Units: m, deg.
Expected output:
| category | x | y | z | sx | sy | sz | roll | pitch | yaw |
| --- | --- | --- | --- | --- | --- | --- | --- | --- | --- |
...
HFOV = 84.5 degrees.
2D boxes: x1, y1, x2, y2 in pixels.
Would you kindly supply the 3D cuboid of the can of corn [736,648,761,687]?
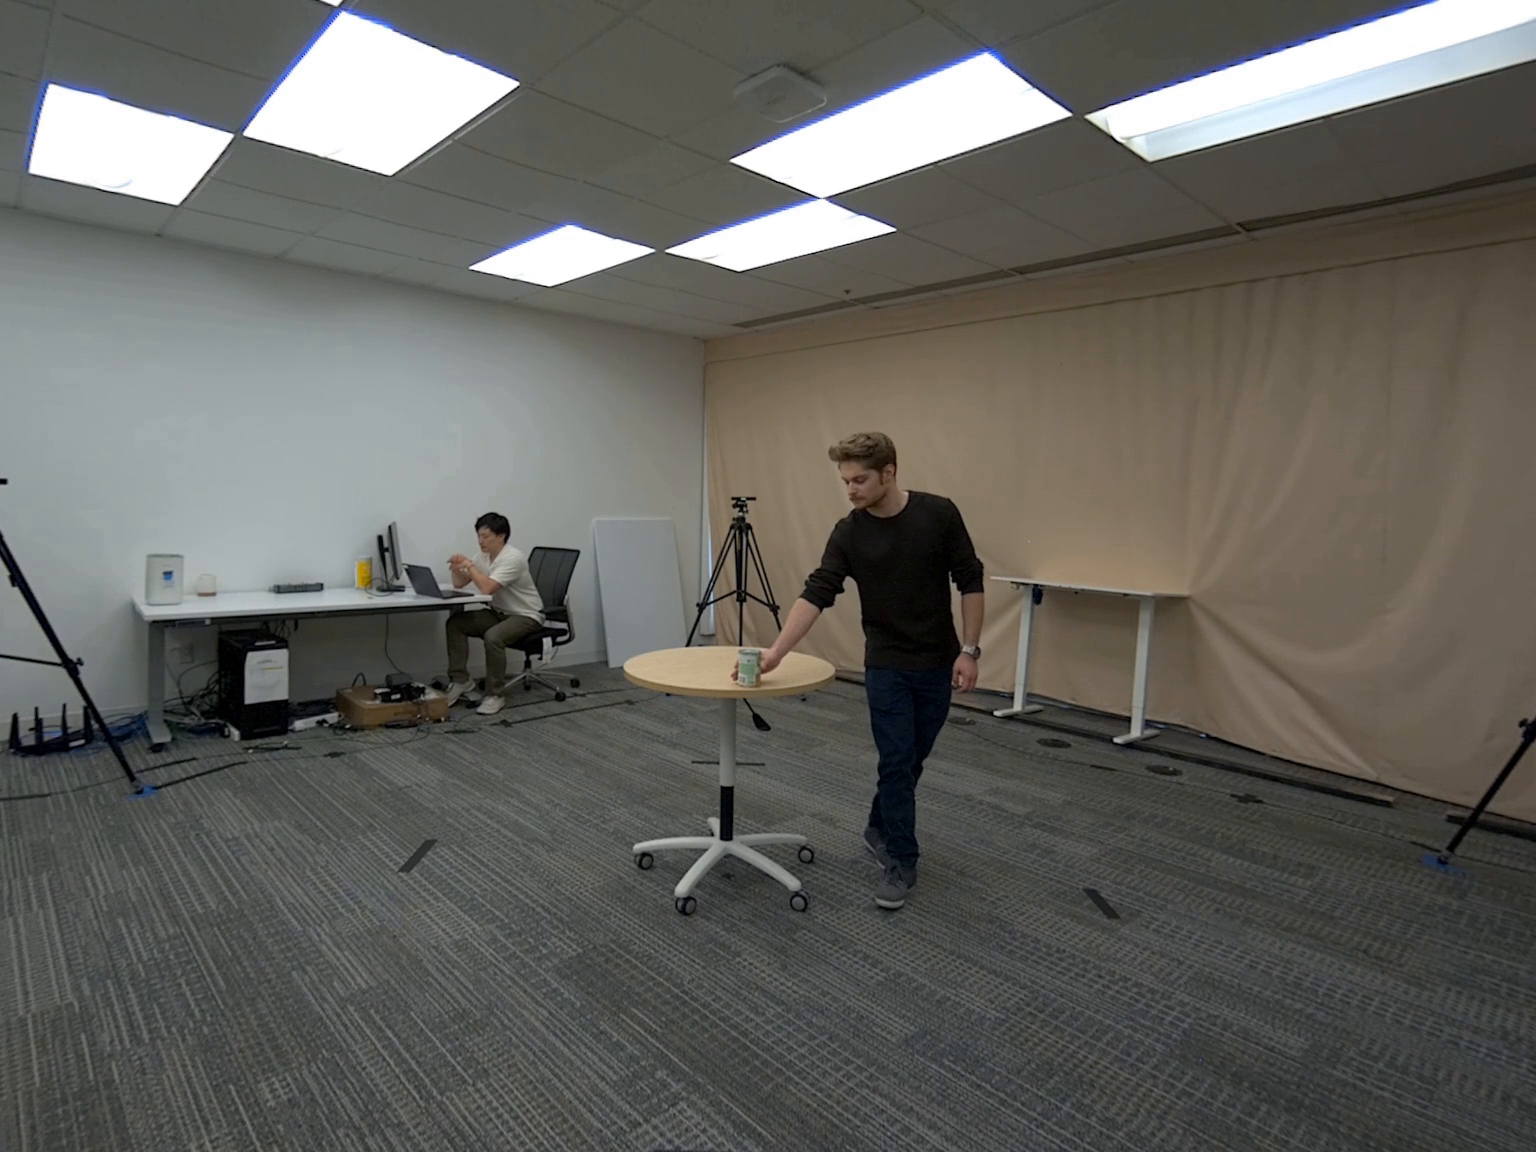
| category | x | y | z | sx | sy | sz | roll | pitch | yaw |
| --- | --- | --- | --- | --- | --- | --- | --- | --- | --- |
| can of corn | -0.080 | 0.303 | 2.733 | 0.074 | 0.111 | 0.074 | 0 | 4 | -1 |
